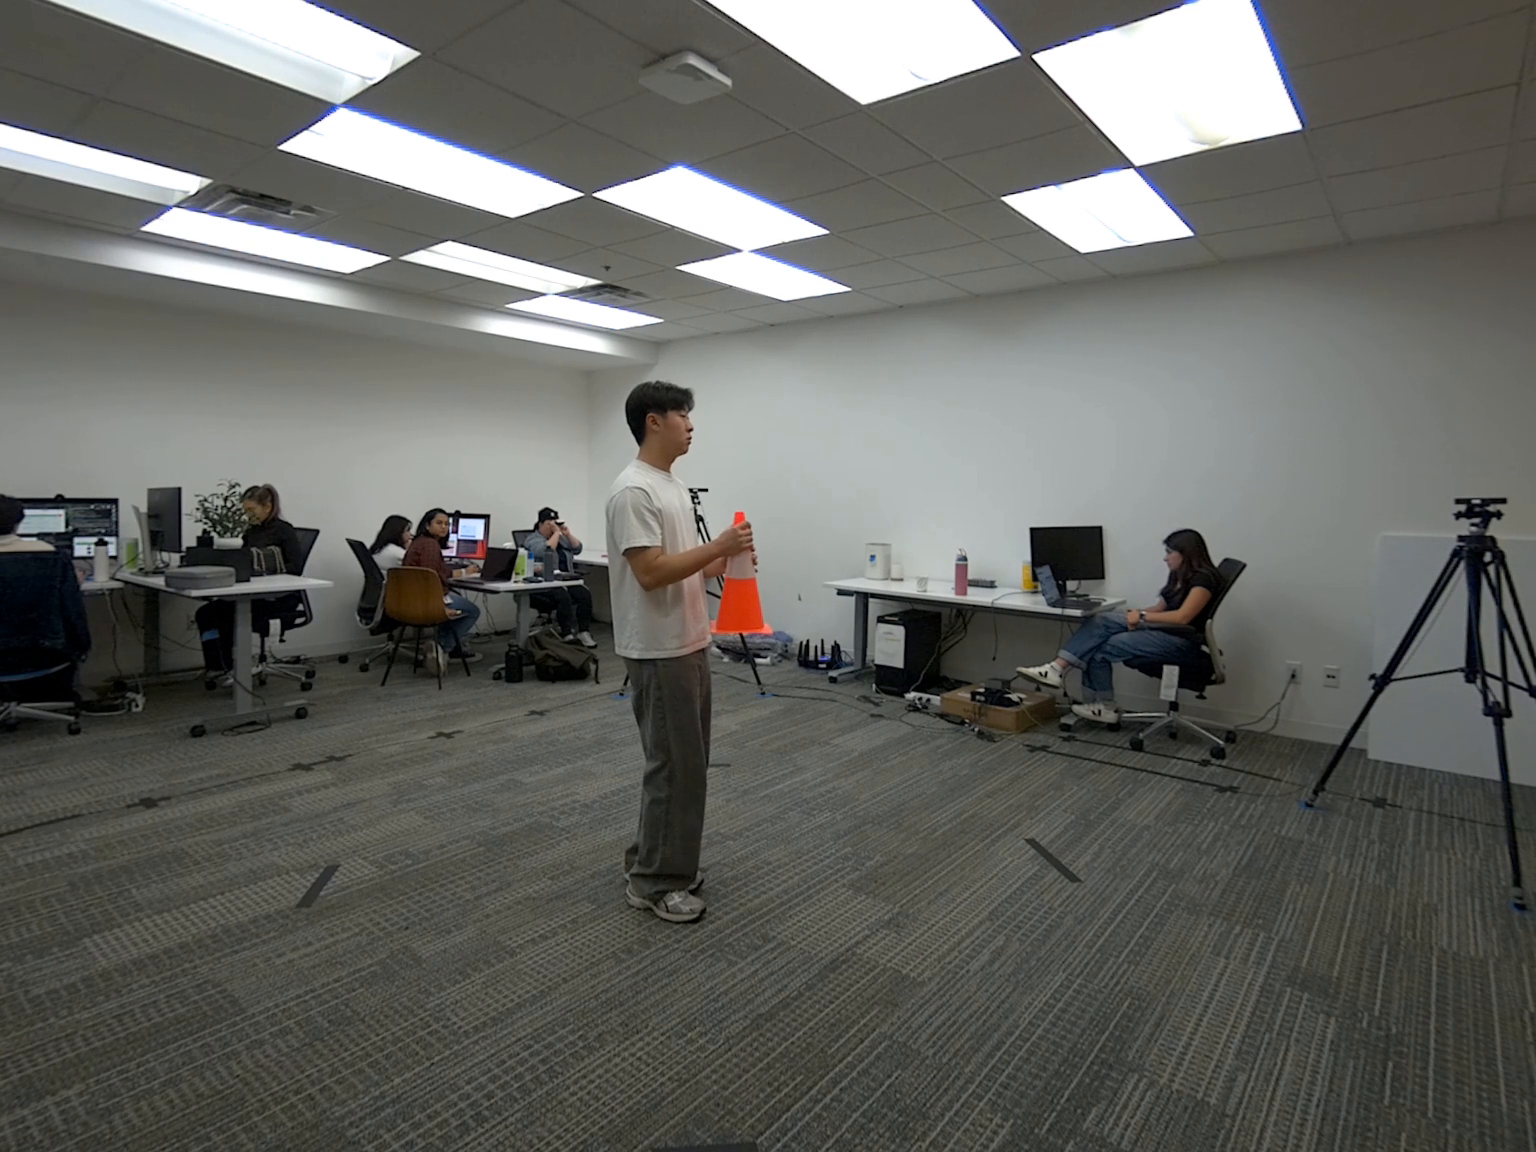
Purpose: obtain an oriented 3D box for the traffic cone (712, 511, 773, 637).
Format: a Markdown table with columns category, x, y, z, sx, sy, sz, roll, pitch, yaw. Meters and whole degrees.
| category | x | y | z | sx | sy | sz | roll | pitch | yaw |
| --- | --- | --- | --- | --- | --- | --- | --- | --- | --- |
| traffic cone | -0.103 | -0.021 | 2.759 | 0.205 | 0.382 | 0.205 | 0 | 5 | 5 |
